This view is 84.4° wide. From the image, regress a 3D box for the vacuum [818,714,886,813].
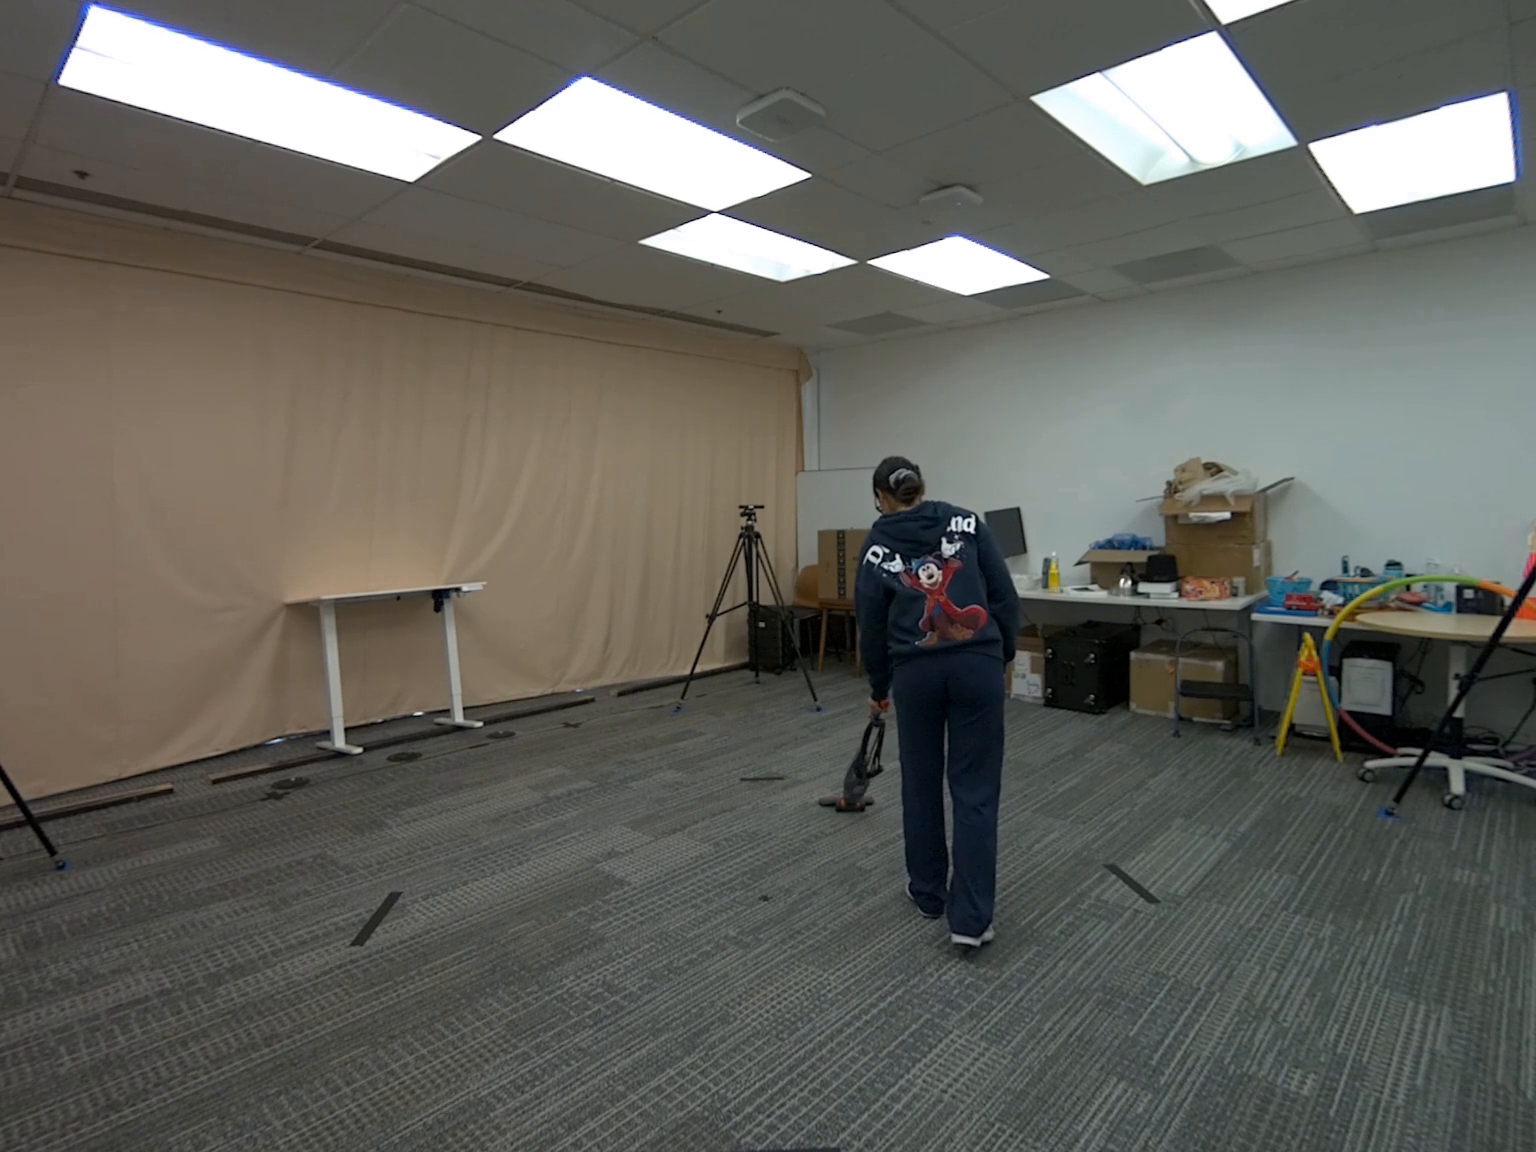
[{"bbox_3d":[0.395,0.755,3.436,0.252,0.147,1.031,-3,-34,-4],"label":"vacuum"}]
